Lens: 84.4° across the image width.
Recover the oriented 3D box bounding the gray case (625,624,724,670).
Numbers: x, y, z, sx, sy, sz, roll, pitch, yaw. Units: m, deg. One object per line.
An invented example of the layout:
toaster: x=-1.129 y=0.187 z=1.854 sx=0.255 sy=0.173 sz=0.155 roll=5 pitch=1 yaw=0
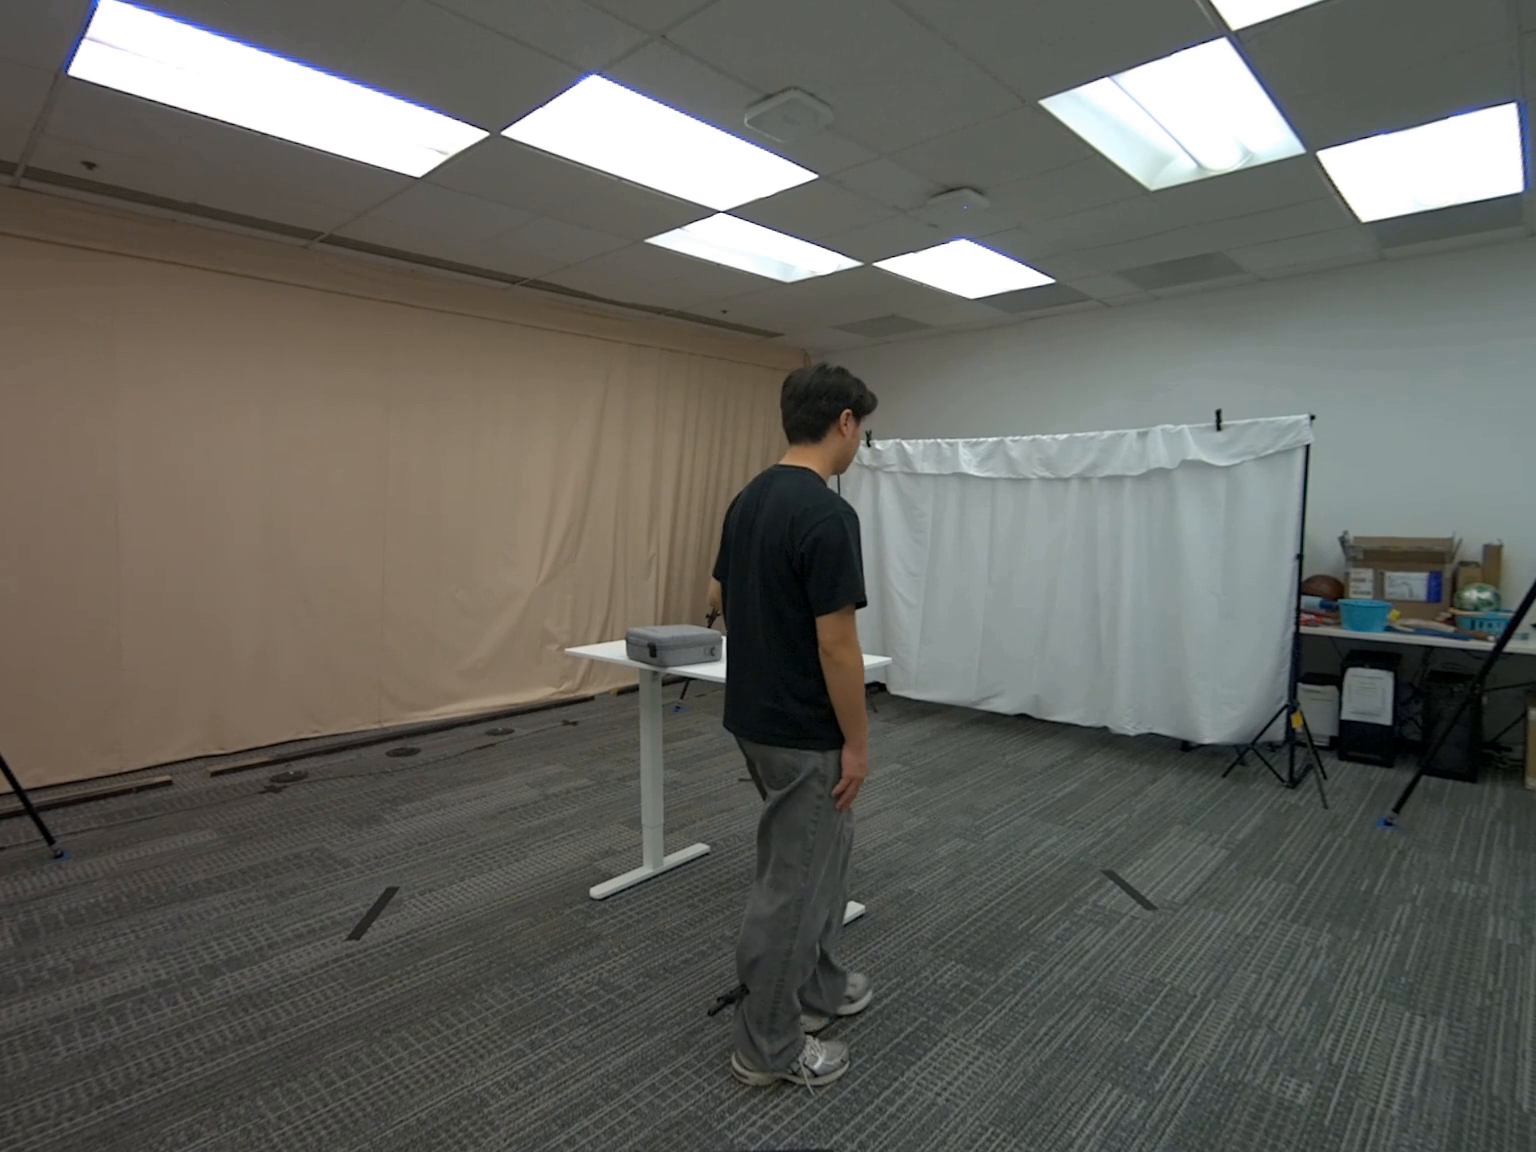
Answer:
gray case: x=-0.309 y=0.226 z=2.796 sx=0.253 sy=0.104 sz=0.265 roll=-2 pitch=4 yaw=-34
